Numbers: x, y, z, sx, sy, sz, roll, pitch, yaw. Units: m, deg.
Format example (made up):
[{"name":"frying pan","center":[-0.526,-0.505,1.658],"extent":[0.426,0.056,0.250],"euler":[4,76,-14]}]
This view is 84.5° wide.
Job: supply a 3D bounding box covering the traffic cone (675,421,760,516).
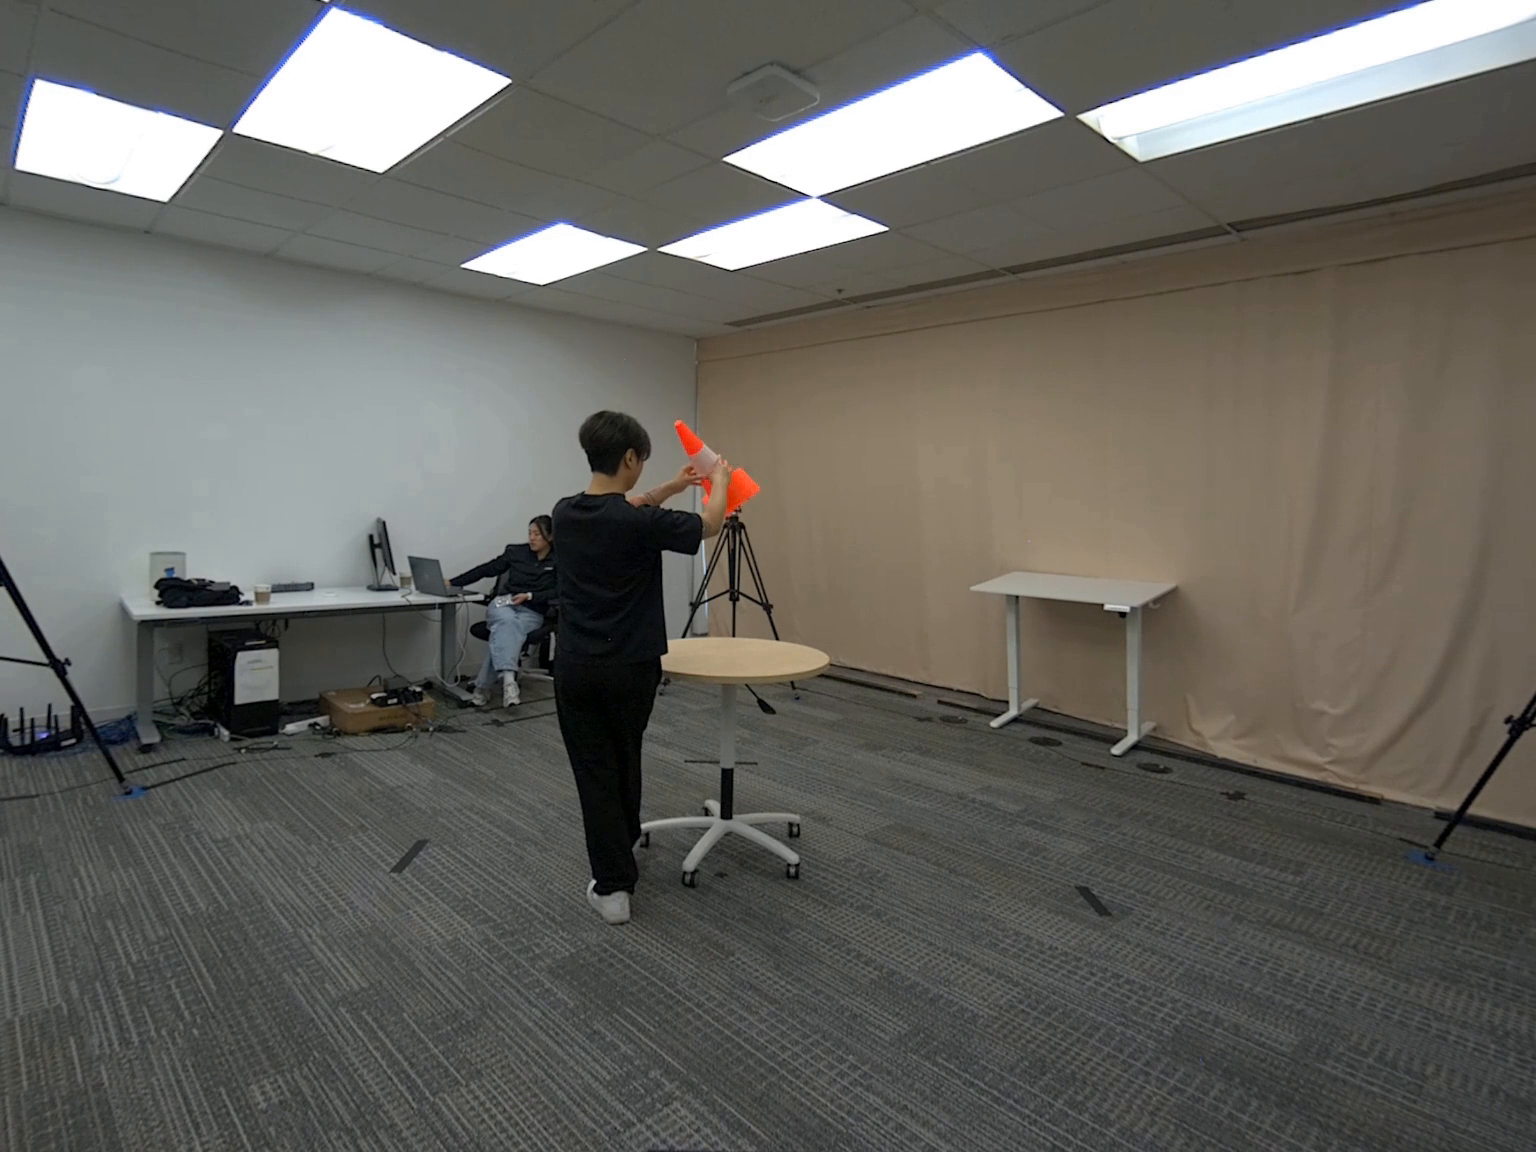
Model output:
[{"name":"traffic cone","center":[-0.238,-0.422,3.114],"extent":[0.205,0.372,0.210],"euler":[-39,39,-2]}]
